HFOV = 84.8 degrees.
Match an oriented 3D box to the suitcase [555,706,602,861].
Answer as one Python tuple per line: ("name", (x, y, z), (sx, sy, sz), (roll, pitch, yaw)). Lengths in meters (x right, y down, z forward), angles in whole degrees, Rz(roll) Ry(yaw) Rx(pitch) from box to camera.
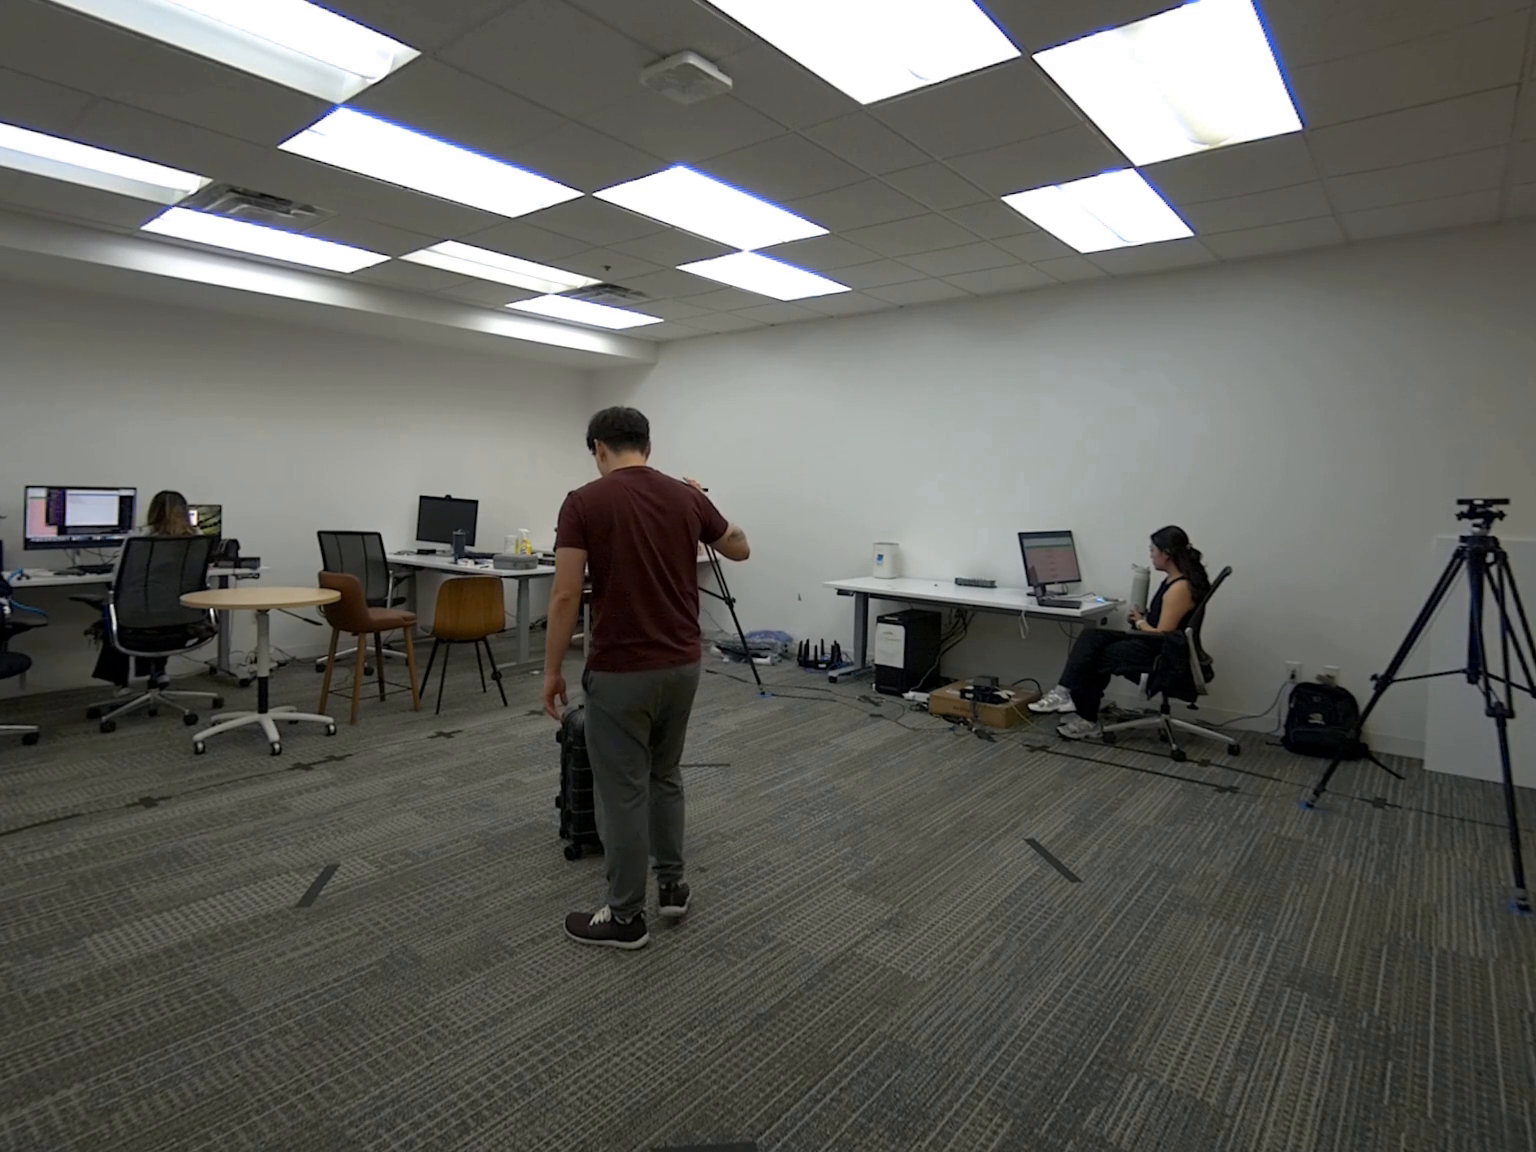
("suitcase", (-0.628, 0.567, 3.297), (0.376, 0.975, 0.263), (-1, 4, -21))
